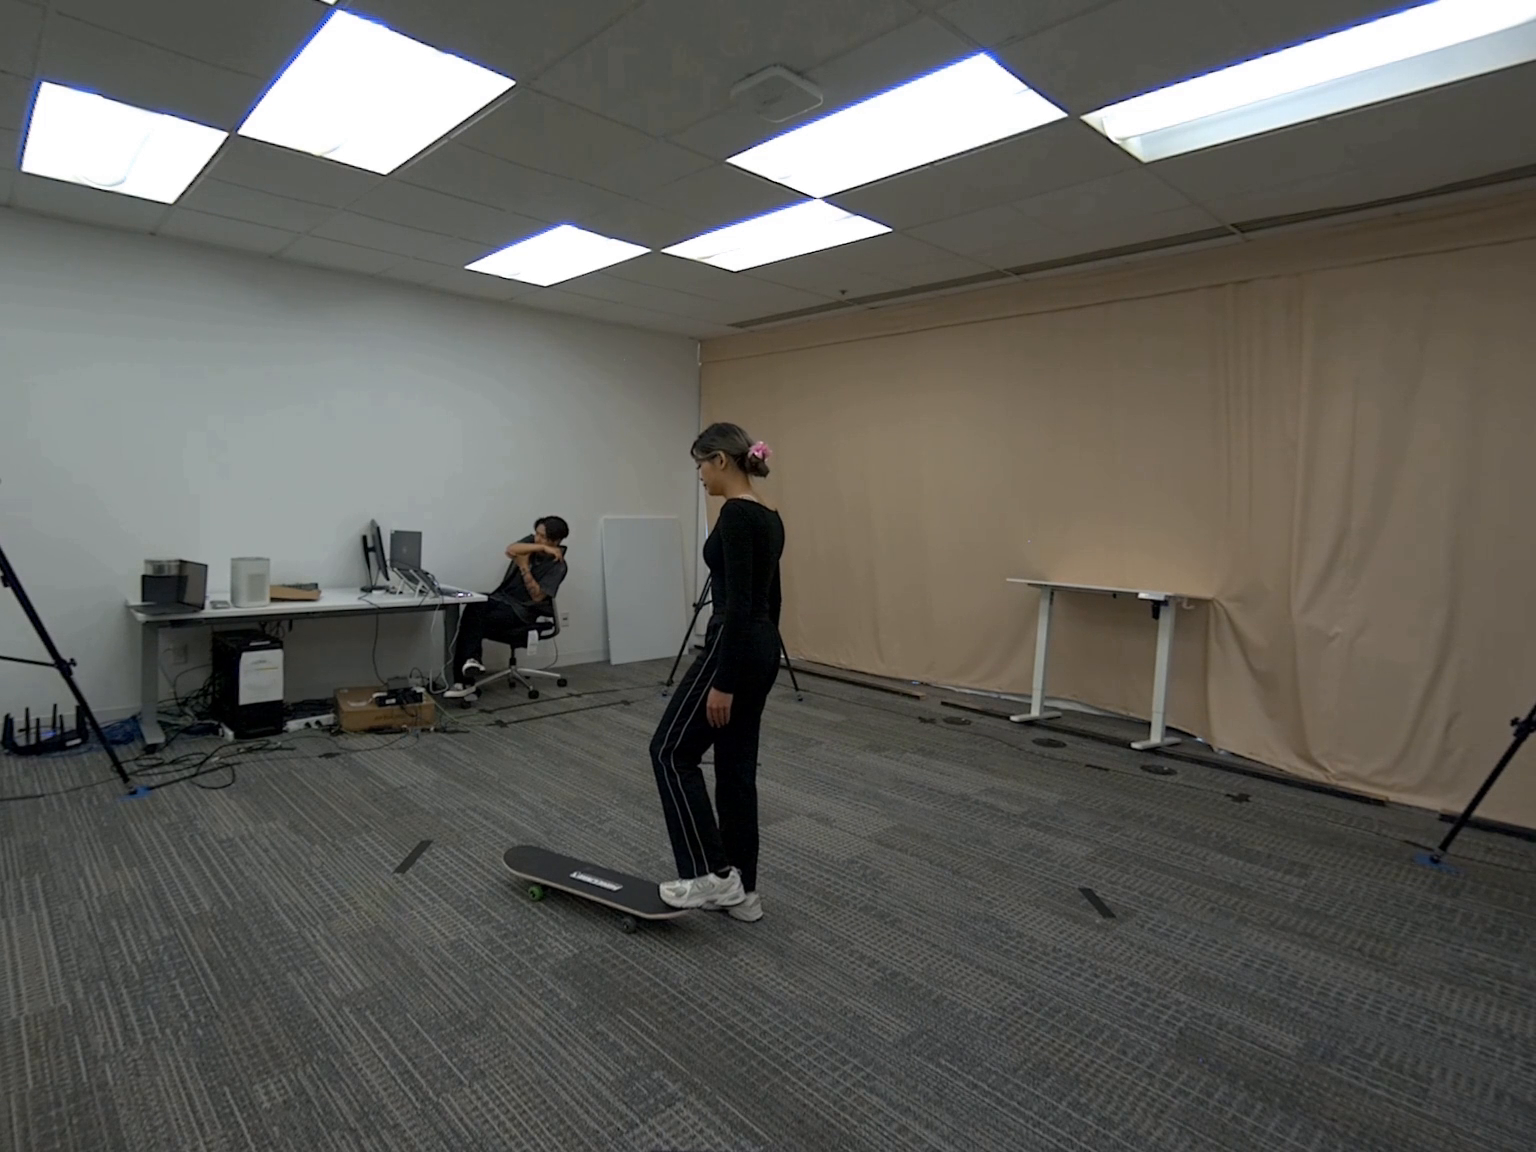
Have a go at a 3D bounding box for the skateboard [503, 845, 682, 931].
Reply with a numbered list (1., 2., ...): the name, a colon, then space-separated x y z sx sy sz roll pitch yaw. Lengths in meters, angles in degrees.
1. skateboard: -0.592 1.064 2.851 0.802 0.110 0.190 5 6 29
